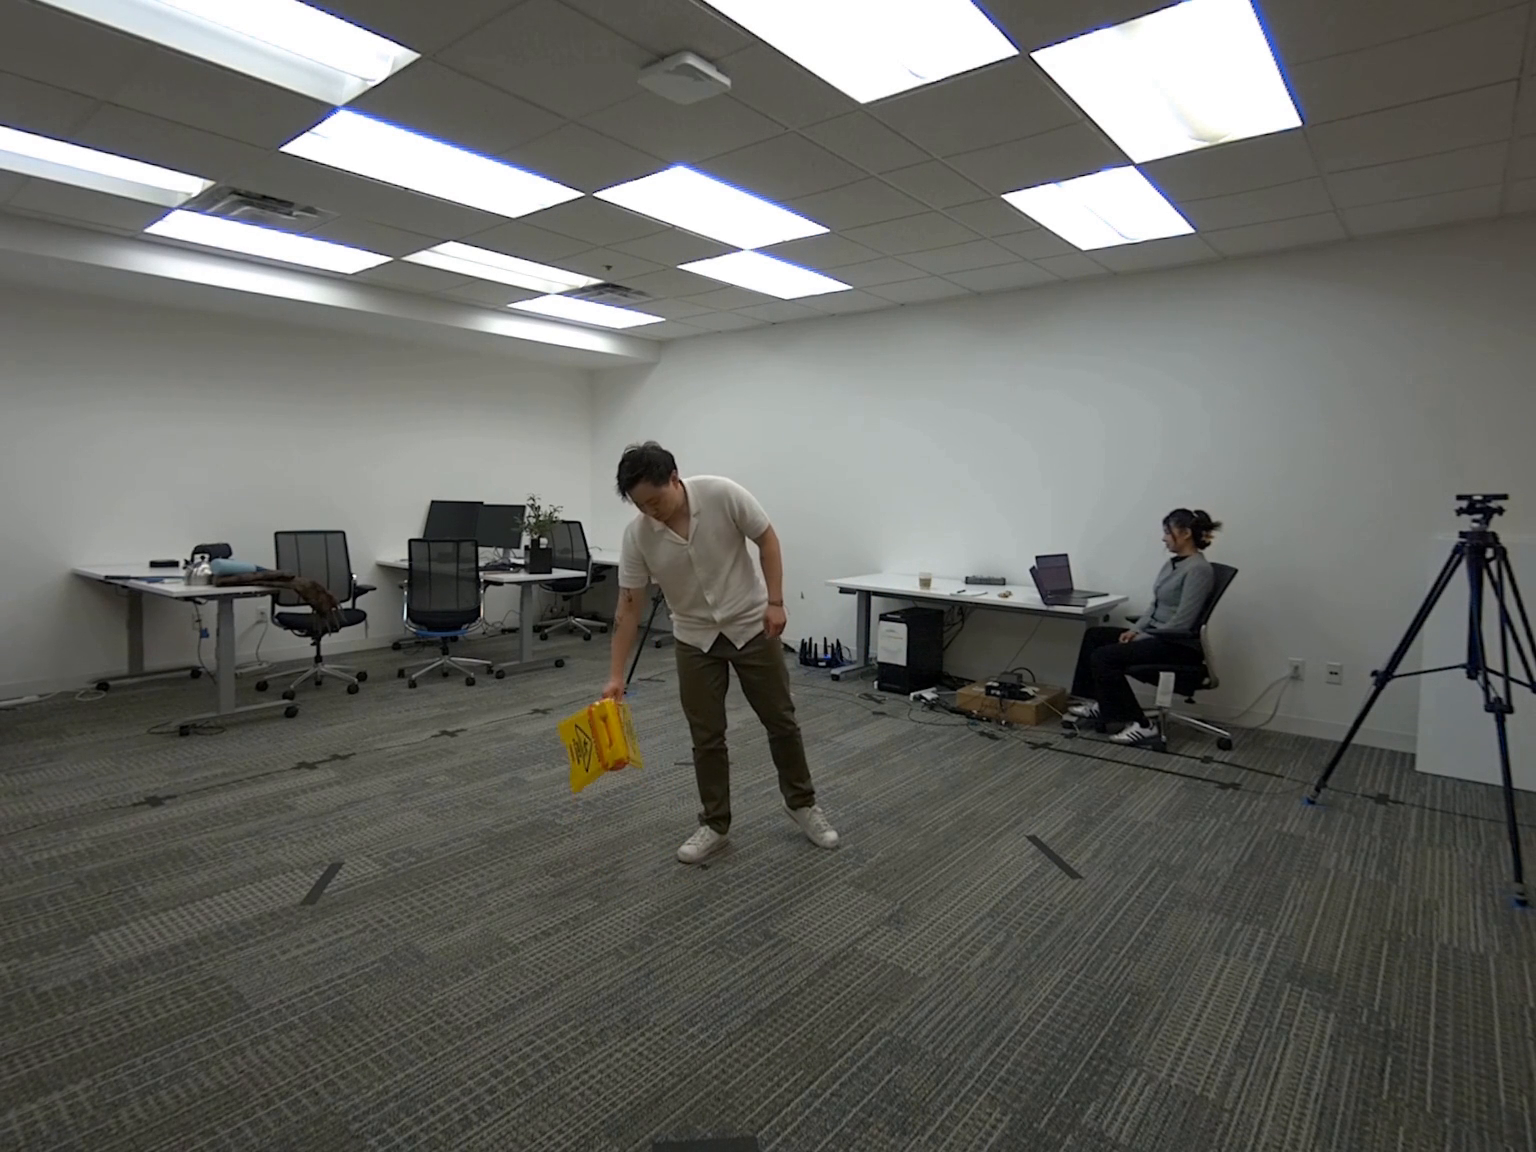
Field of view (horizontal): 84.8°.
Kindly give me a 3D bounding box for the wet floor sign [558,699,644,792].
[{"bbox_3d":[-0.591,0.589,3.088,0.286,0.287,0.643,-14,-13,-18],"label":"wet floor sign"}]
